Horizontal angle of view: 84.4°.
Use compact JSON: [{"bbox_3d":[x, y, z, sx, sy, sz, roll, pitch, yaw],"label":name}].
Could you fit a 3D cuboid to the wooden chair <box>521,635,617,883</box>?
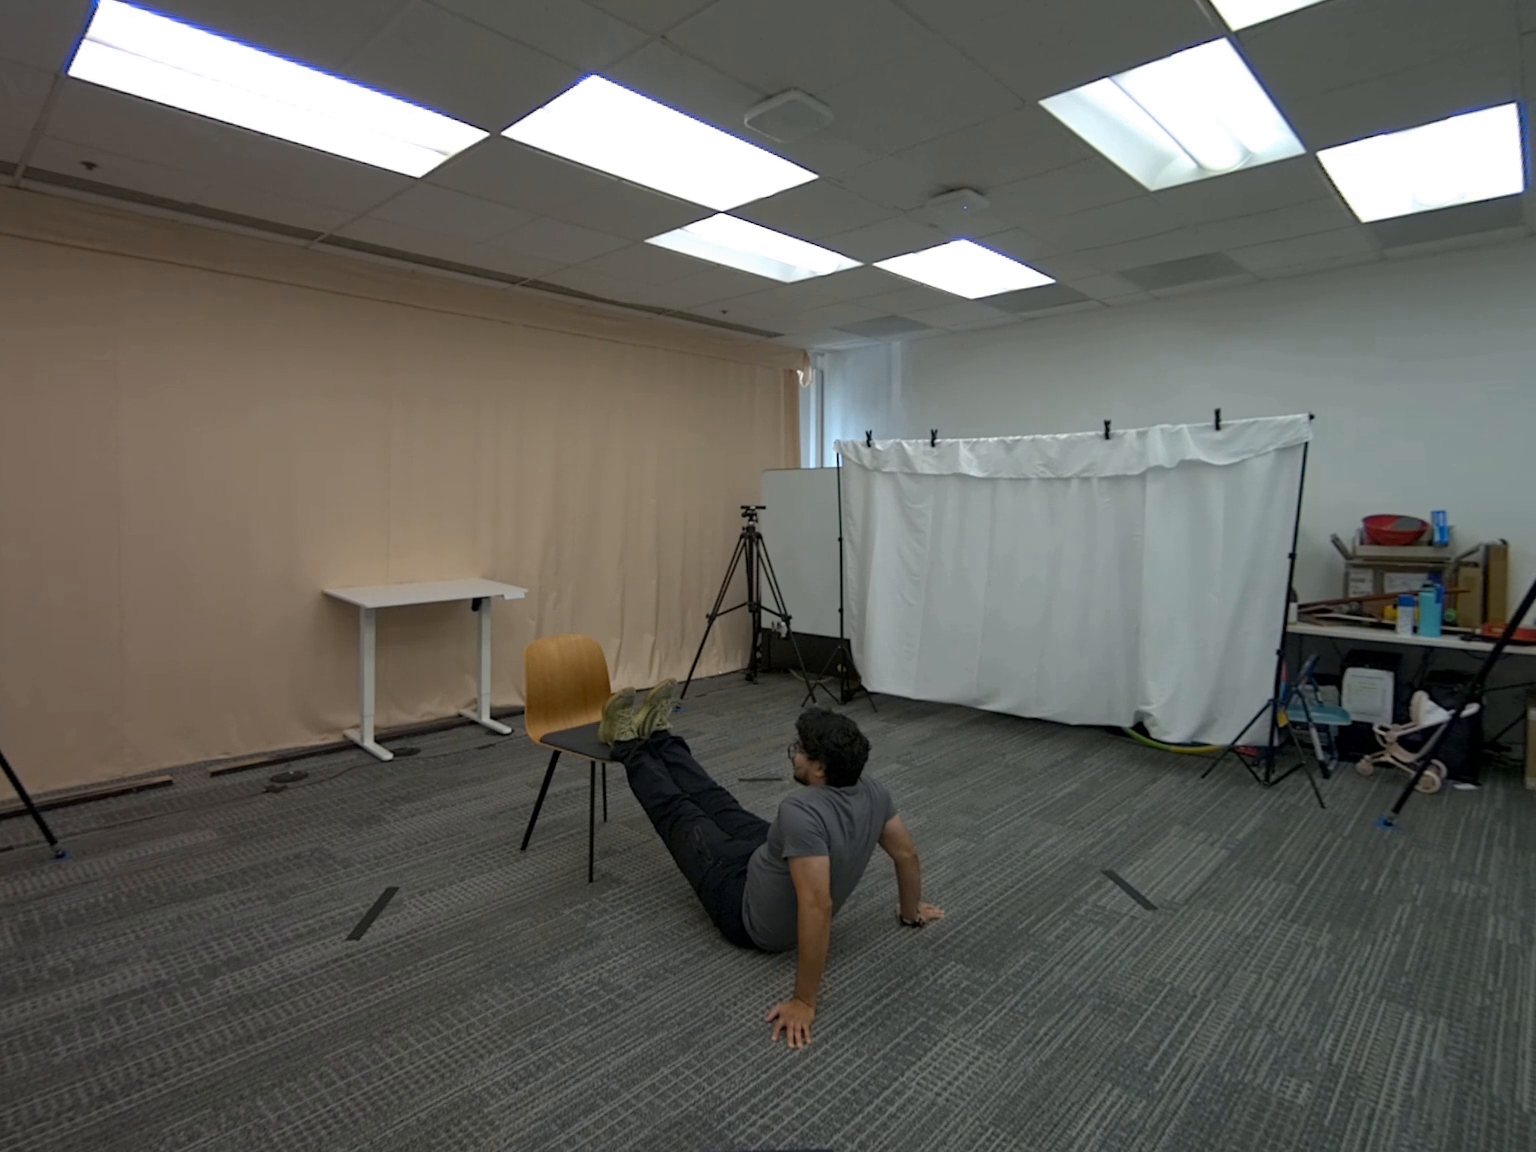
[{"bbox_3d":[-0.688,0.690,3.401,0.539,0.877,0.463,-3,1,42],"label":"wooden chair"}]
